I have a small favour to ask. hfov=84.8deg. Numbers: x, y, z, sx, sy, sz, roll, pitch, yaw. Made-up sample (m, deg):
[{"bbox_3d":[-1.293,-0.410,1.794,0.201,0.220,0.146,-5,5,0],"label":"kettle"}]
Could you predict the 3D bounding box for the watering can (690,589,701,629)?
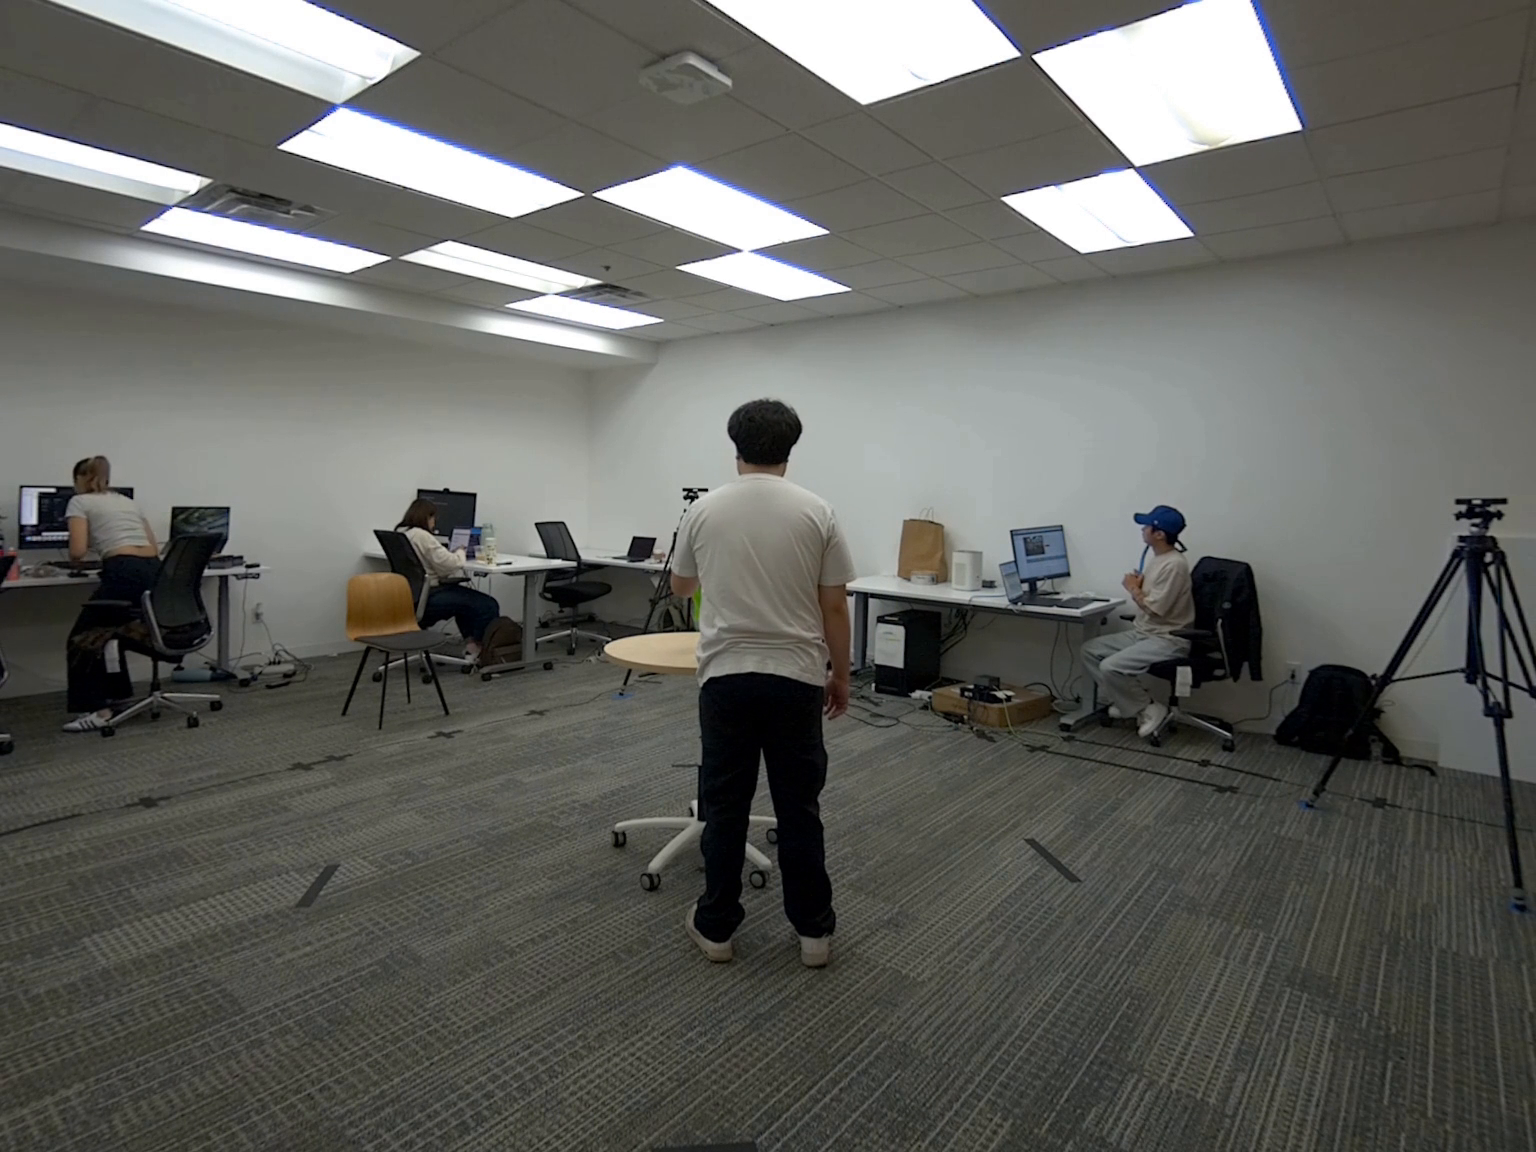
[{"bbox_3d":[-0.184,0.076,3.100,0.270,0.176,0.101,-3,3,-37],"label":"watering can"}]
